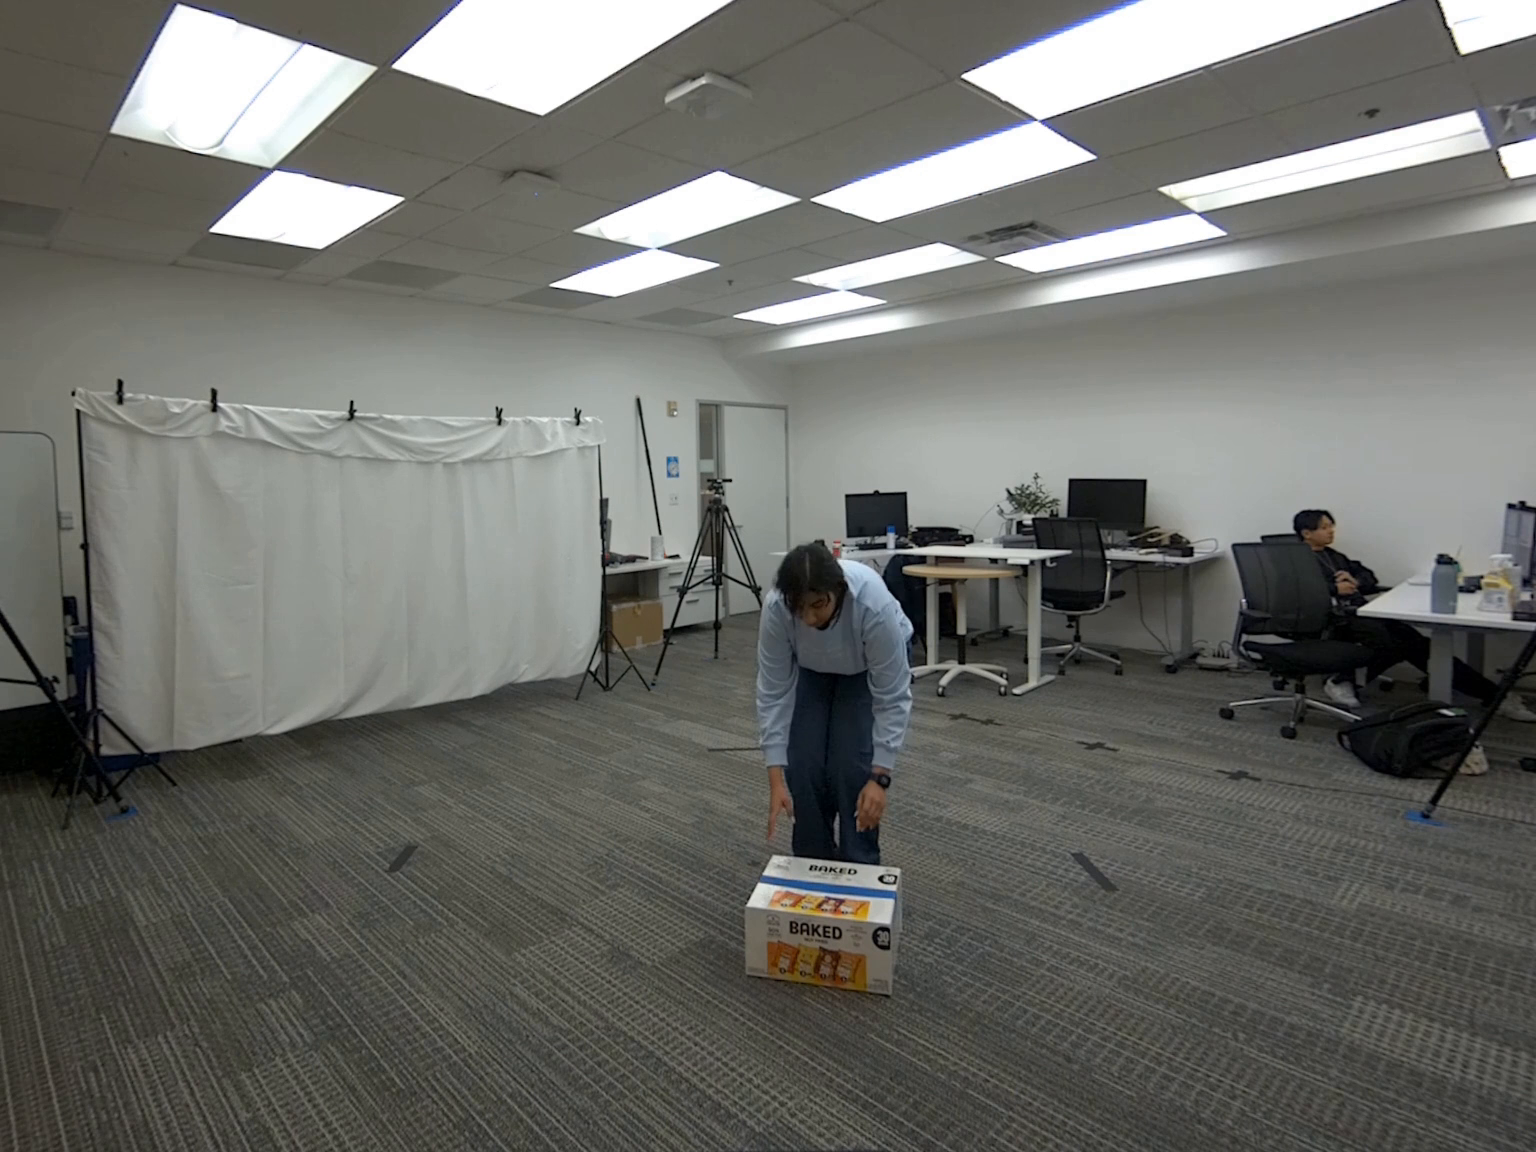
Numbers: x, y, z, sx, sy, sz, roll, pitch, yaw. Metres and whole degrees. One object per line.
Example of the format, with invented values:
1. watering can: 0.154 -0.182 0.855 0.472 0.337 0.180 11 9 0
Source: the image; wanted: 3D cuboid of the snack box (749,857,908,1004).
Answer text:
1. snack box: 0.185 1.015 2.500 0.411 0.205 0.337 0 6 15
